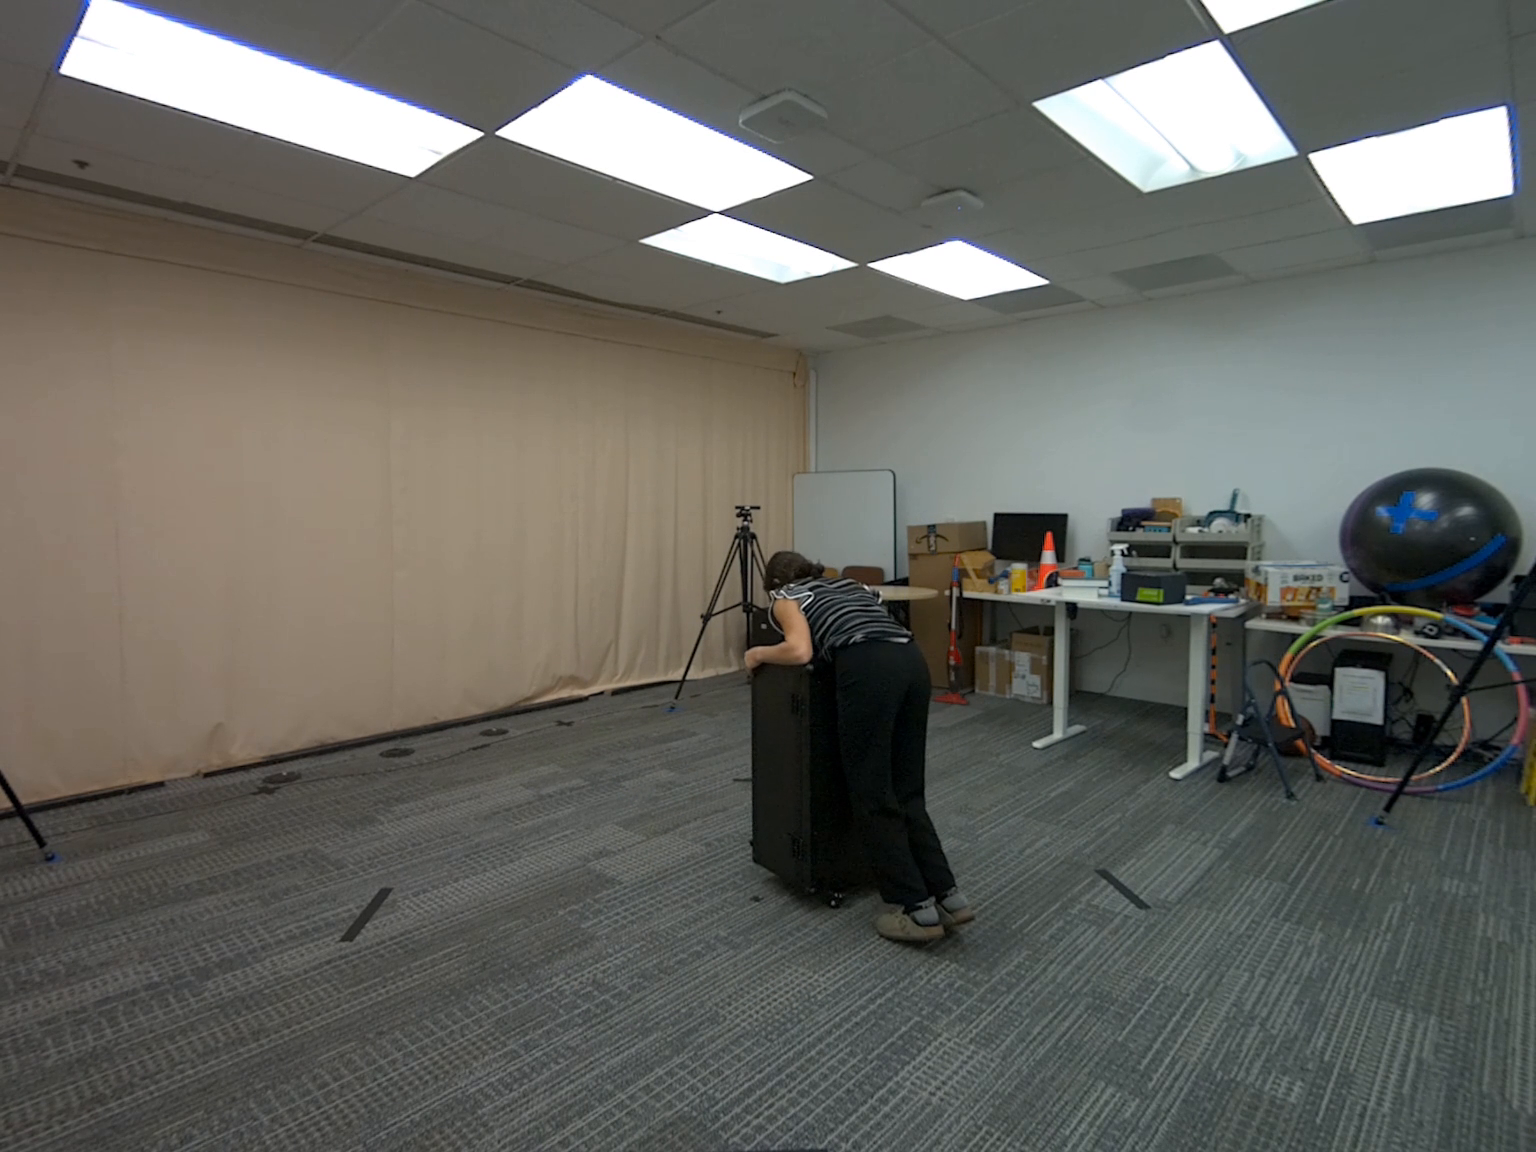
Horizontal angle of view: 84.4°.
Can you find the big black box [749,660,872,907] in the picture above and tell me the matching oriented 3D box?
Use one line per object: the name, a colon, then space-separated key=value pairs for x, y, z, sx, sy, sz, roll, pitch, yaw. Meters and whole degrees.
big black box: x=0.222 y=0.717 z=3.114 sx=0.507 sy=0.860 sz=0.408 roll=-2 pitch=2 yaw=-32
